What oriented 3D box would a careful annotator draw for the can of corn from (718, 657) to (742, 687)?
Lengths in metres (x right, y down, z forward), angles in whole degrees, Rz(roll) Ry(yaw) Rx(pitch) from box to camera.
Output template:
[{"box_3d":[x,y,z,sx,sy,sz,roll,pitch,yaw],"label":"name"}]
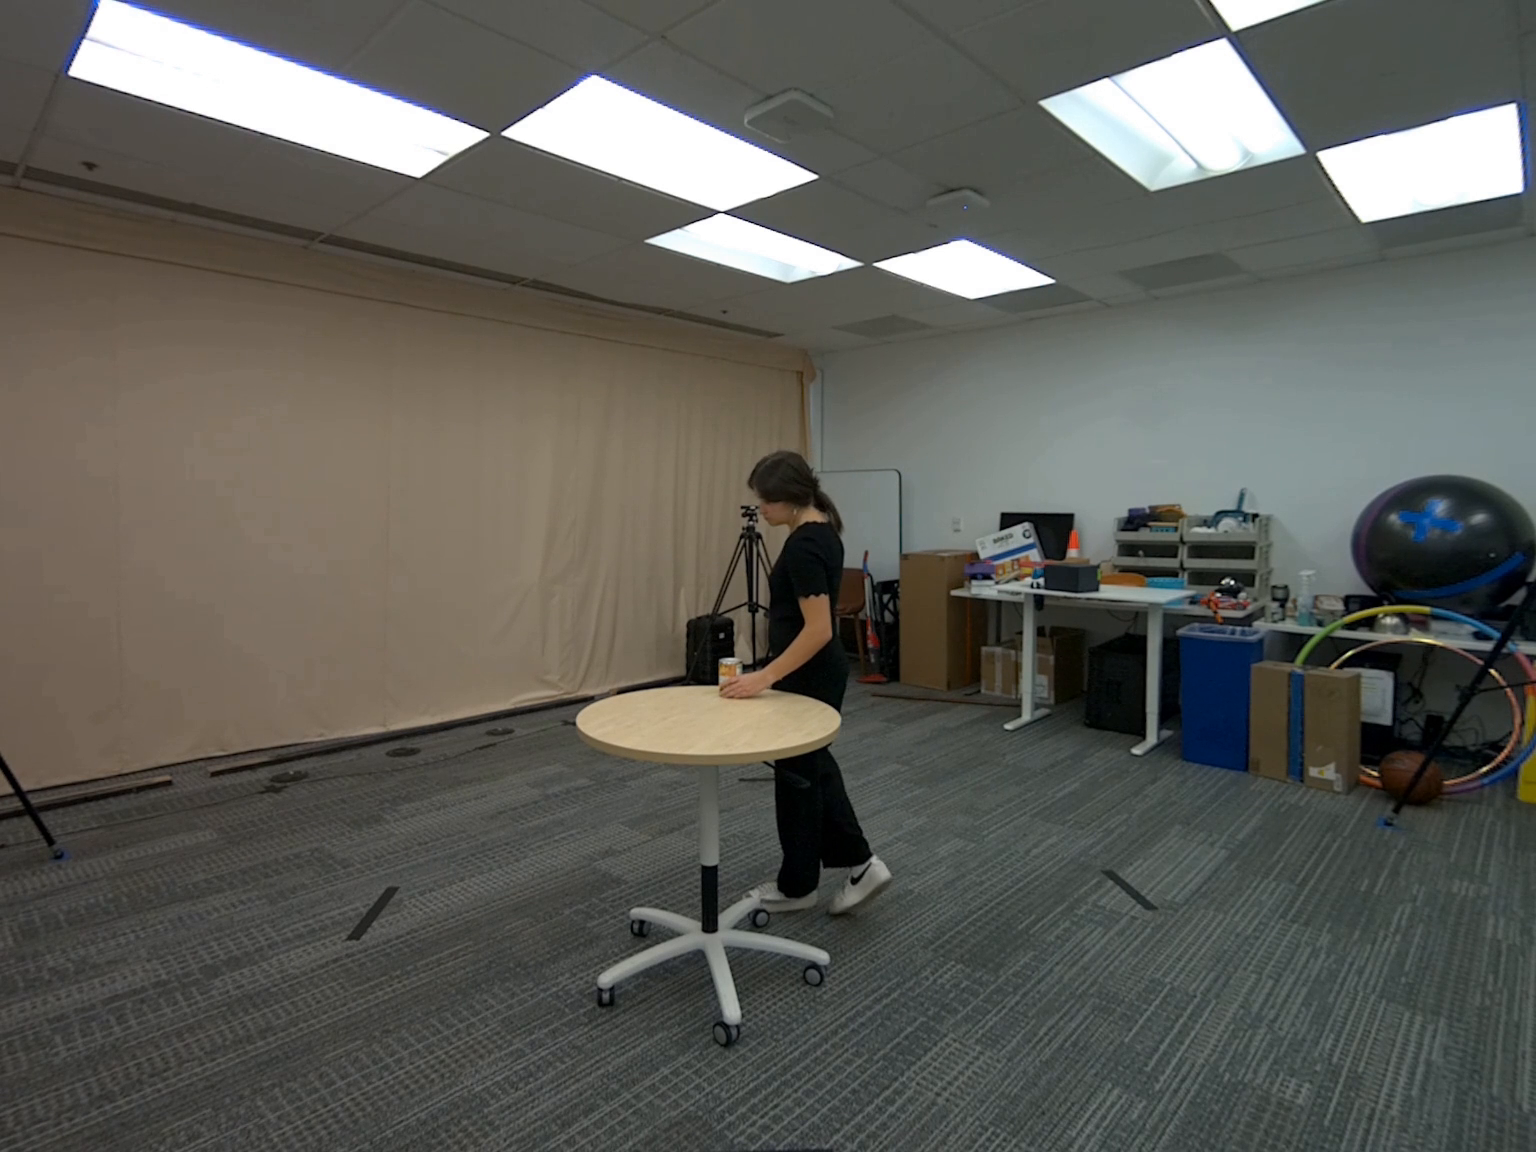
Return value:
[{"box_3d":[-0.112,0.331,2.706,0.074,0.111,0.074,4,3,-2],"label":"can of corn"}]
